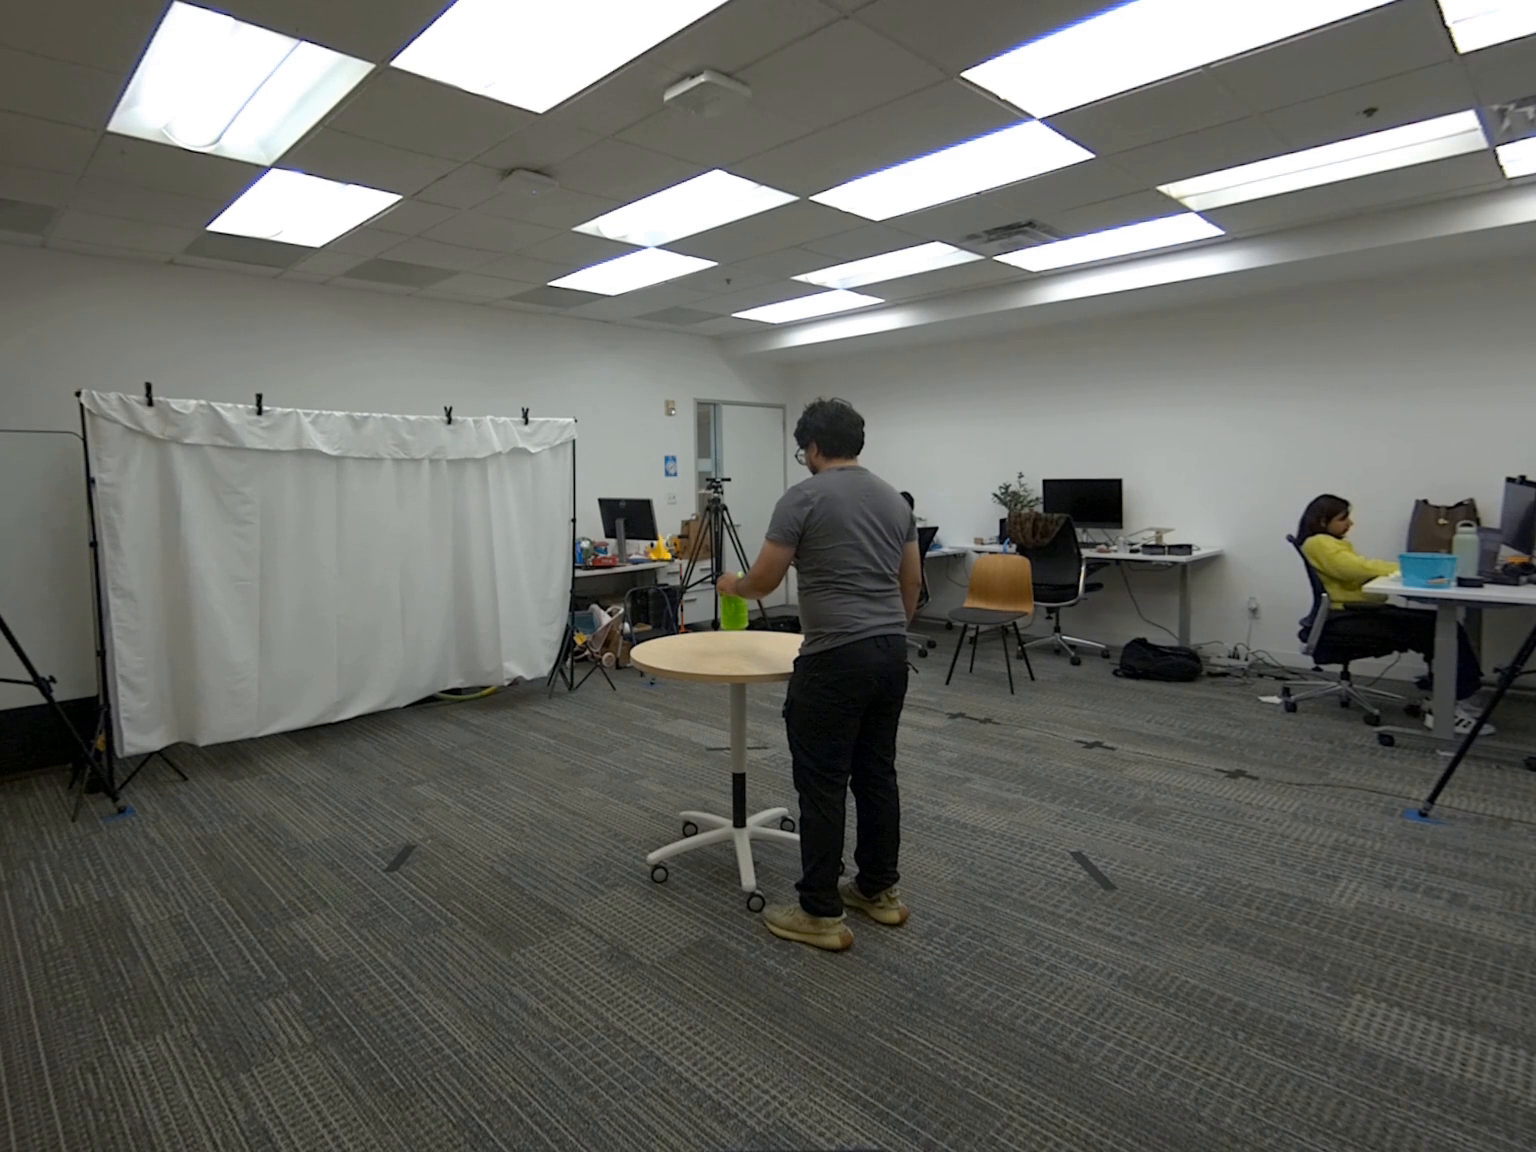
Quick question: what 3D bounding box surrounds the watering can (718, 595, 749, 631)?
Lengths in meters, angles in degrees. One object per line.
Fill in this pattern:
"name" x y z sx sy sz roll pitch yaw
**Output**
"watering can" -0.102 0.088 3.028 0.100 0.176 0.272 -1 5 29
